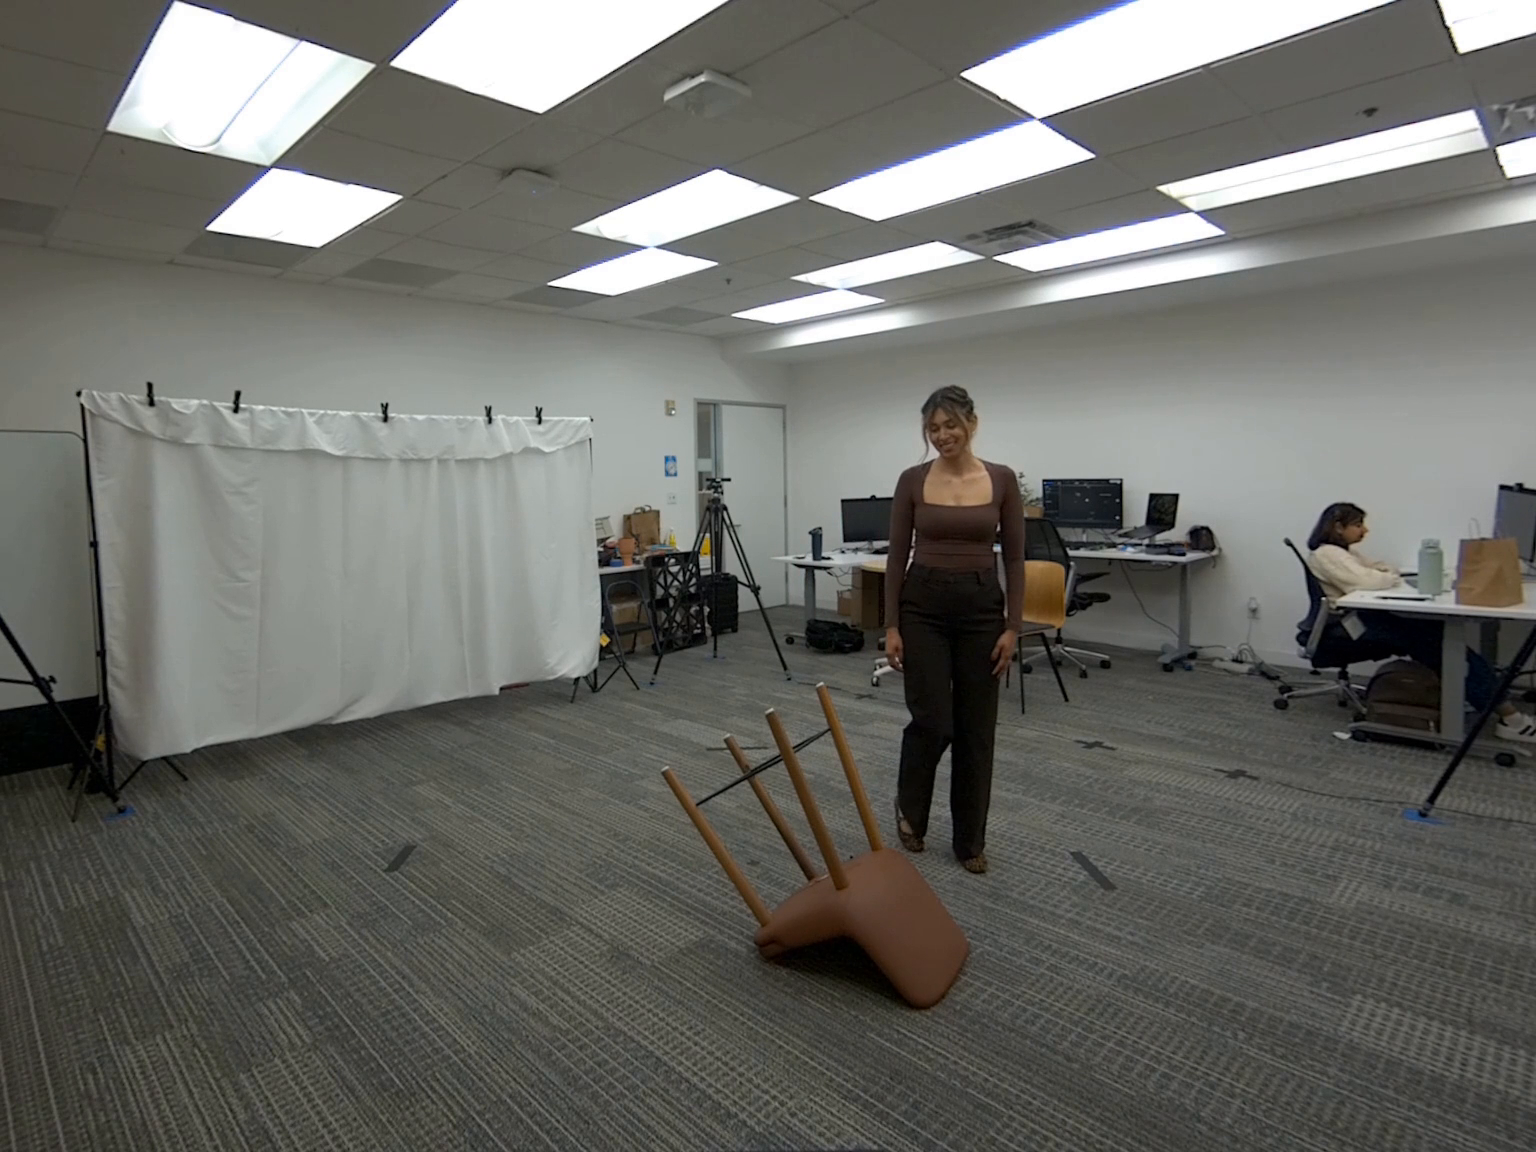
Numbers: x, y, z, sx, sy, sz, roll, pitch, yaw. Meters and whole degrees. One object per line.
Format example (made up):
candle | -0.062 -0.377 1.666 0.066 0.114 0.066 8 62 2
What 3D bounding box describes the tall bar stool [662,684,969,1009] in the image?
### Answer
tall bar stool | 0.148 0.848 2.589 0.470 0.905 0.446 -38 -14 27
